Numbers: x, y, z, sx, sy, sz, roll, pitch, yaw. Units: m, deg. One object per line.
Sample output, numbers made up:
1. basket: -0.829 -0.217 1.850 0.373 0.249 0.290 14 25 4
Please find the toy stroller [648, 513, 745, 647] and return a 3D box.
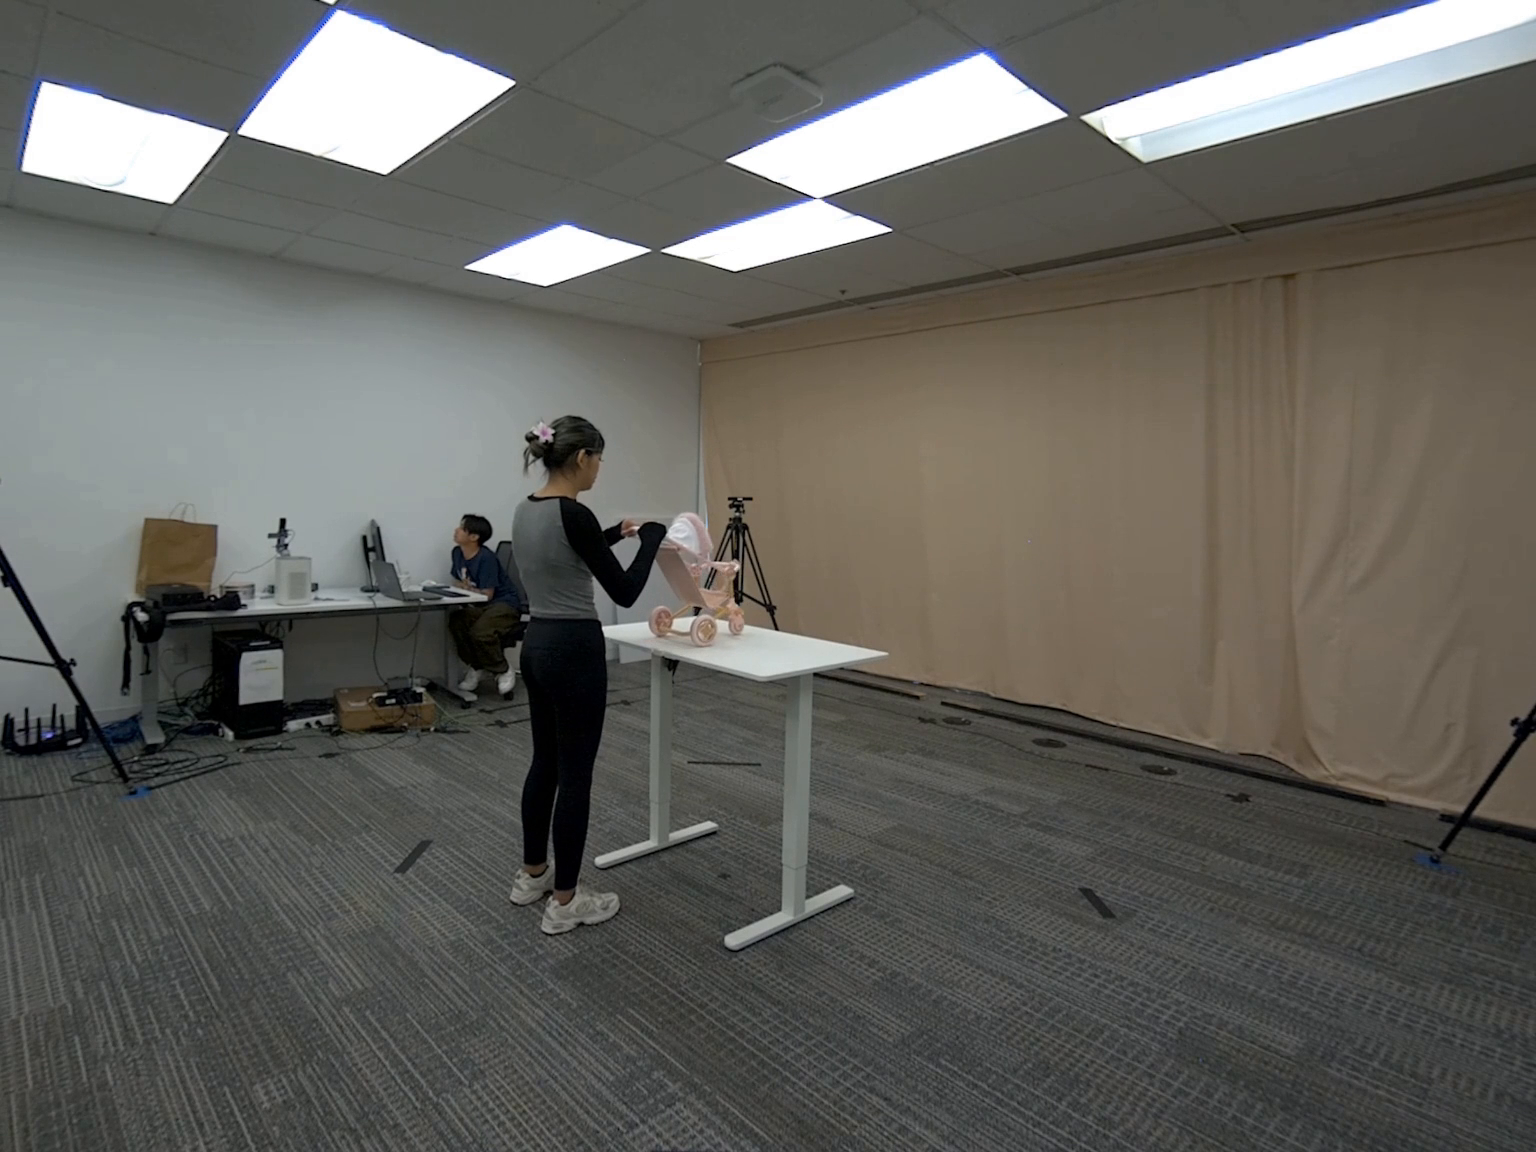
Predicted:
1. toy stroller: -0.267 0.010 3.004 0.337 0.528 0.288 -22 17 -35
